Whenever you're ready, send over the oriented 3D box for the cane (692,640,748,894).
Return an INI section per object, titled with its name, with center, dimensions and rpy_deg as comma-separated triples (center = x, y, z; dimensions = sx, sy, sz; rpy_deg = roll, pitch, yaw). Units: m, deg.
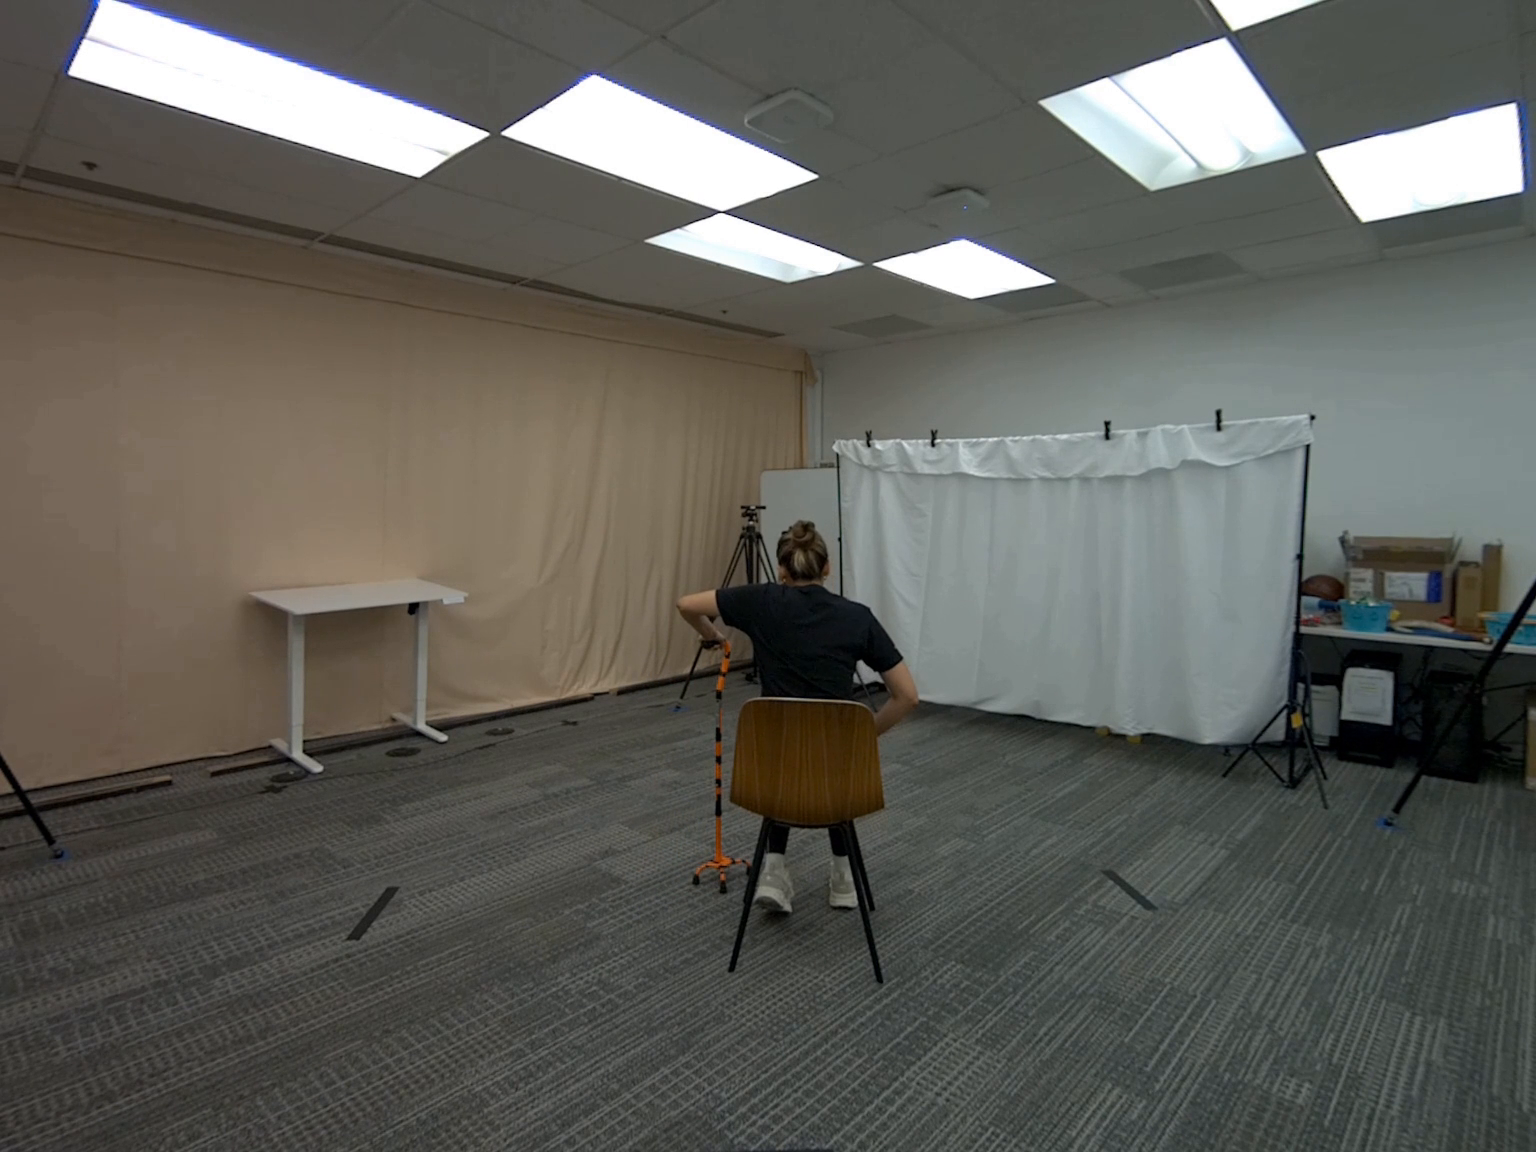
[cane]
center = -0.169, 0.685, 3.119
dimensions = 0.156, 0.905, 0.201
rpy_deg = 3, 5, 33
